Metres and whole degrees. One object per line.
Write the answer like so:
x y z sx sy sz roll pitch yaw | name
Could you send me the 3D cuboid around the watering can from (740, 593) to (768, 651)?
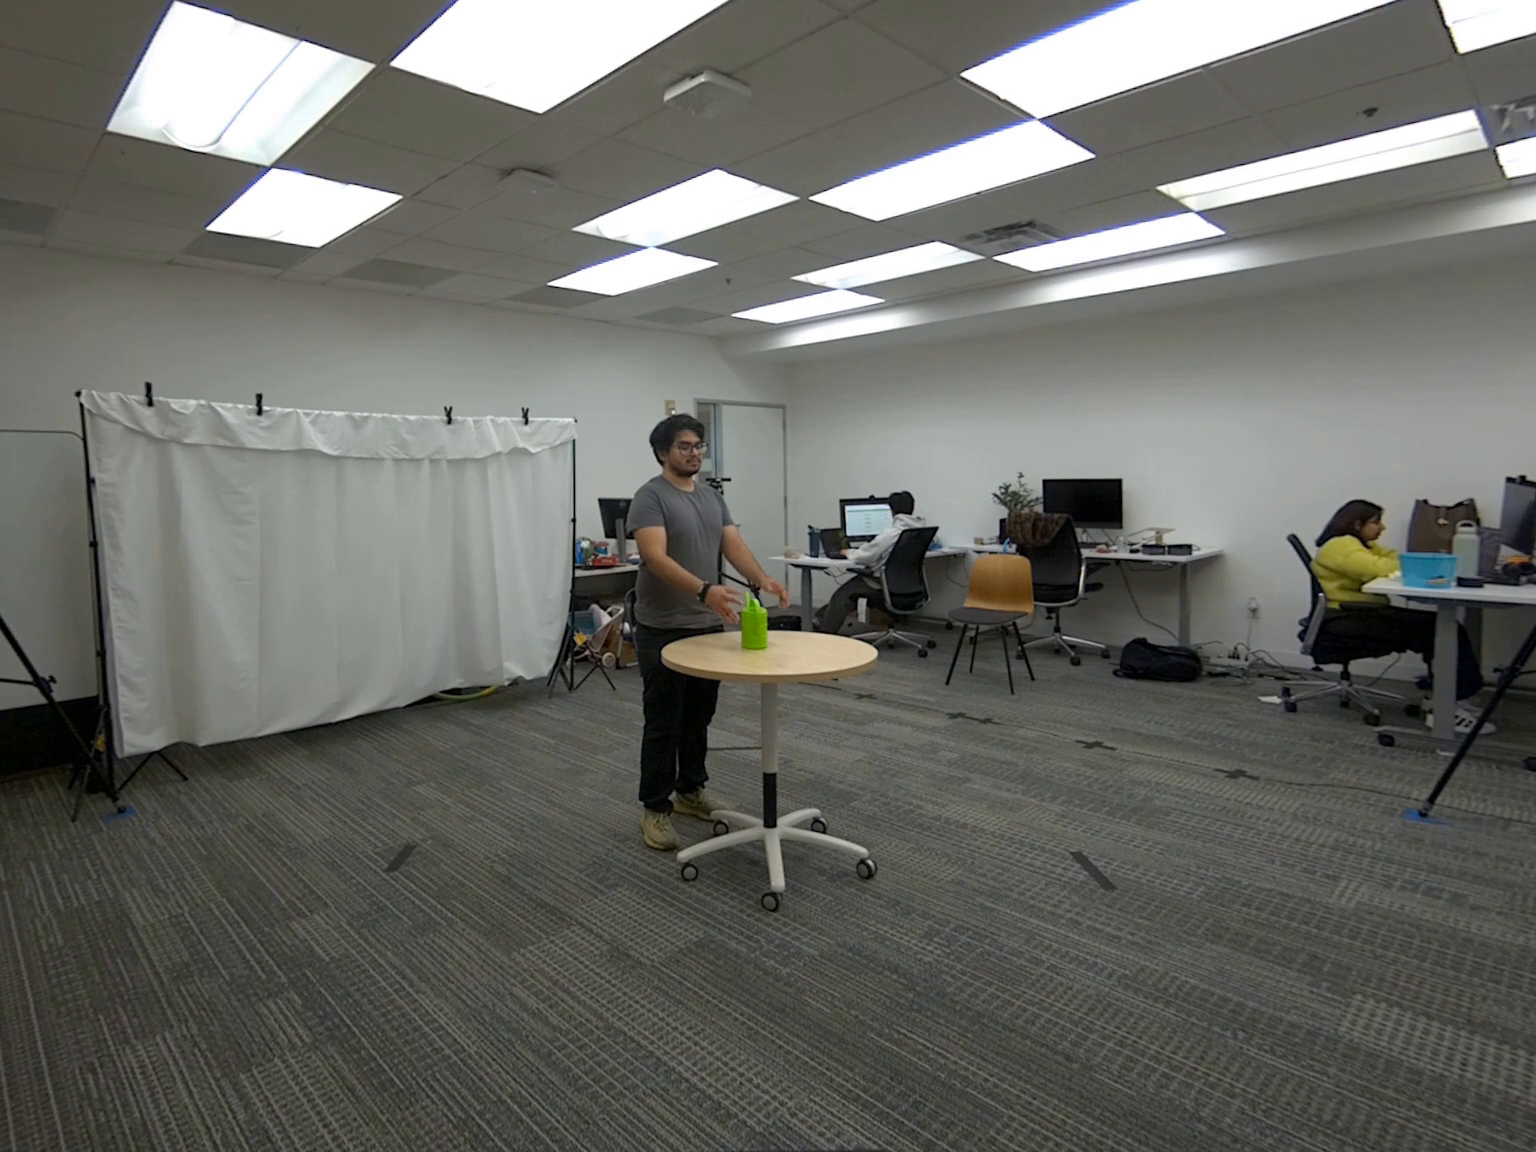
-0.043 0.169 3.154 0.098 0.176 0.279 -1 8 0 | watering can
